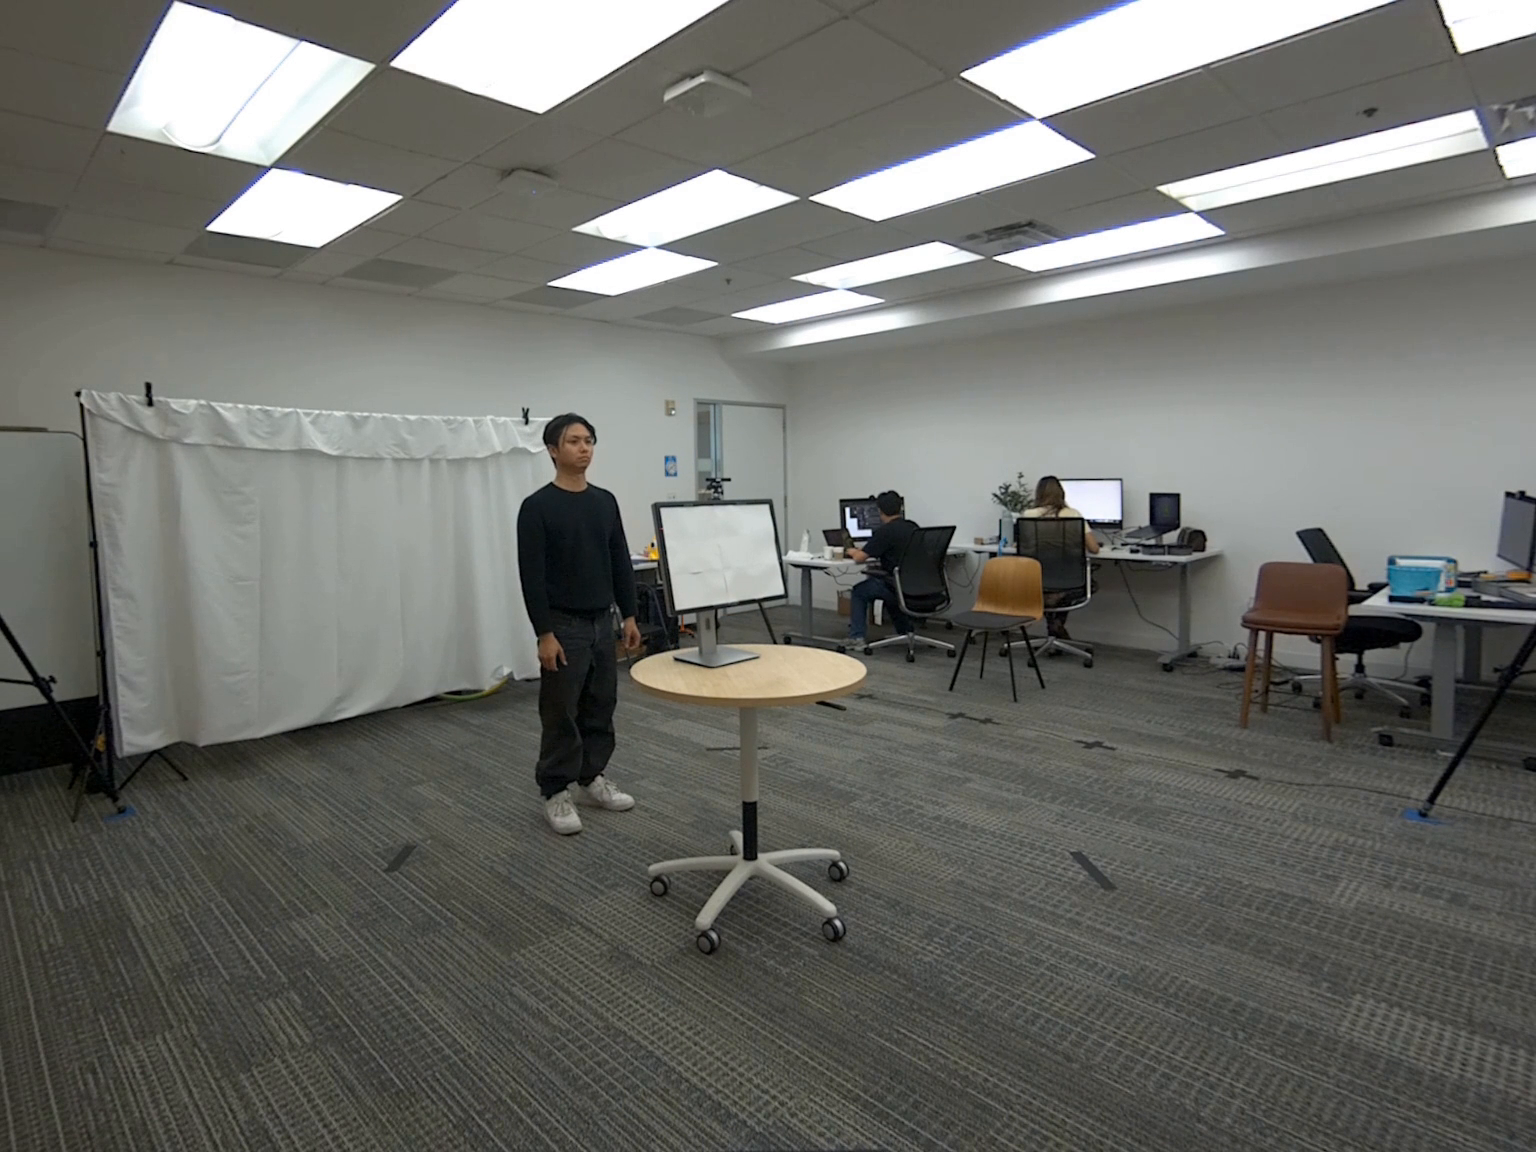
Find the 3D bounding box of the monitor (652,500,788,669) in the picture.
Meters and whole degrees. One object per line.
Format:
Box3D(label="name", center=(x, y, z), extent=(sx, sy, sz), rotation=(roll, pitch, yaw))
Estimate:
Box3D(label="monitor", center=(-0.173, 0.017, 2.917), extent=(0.193, 0.520, 0.525), rotation=(5, 8, 40))
